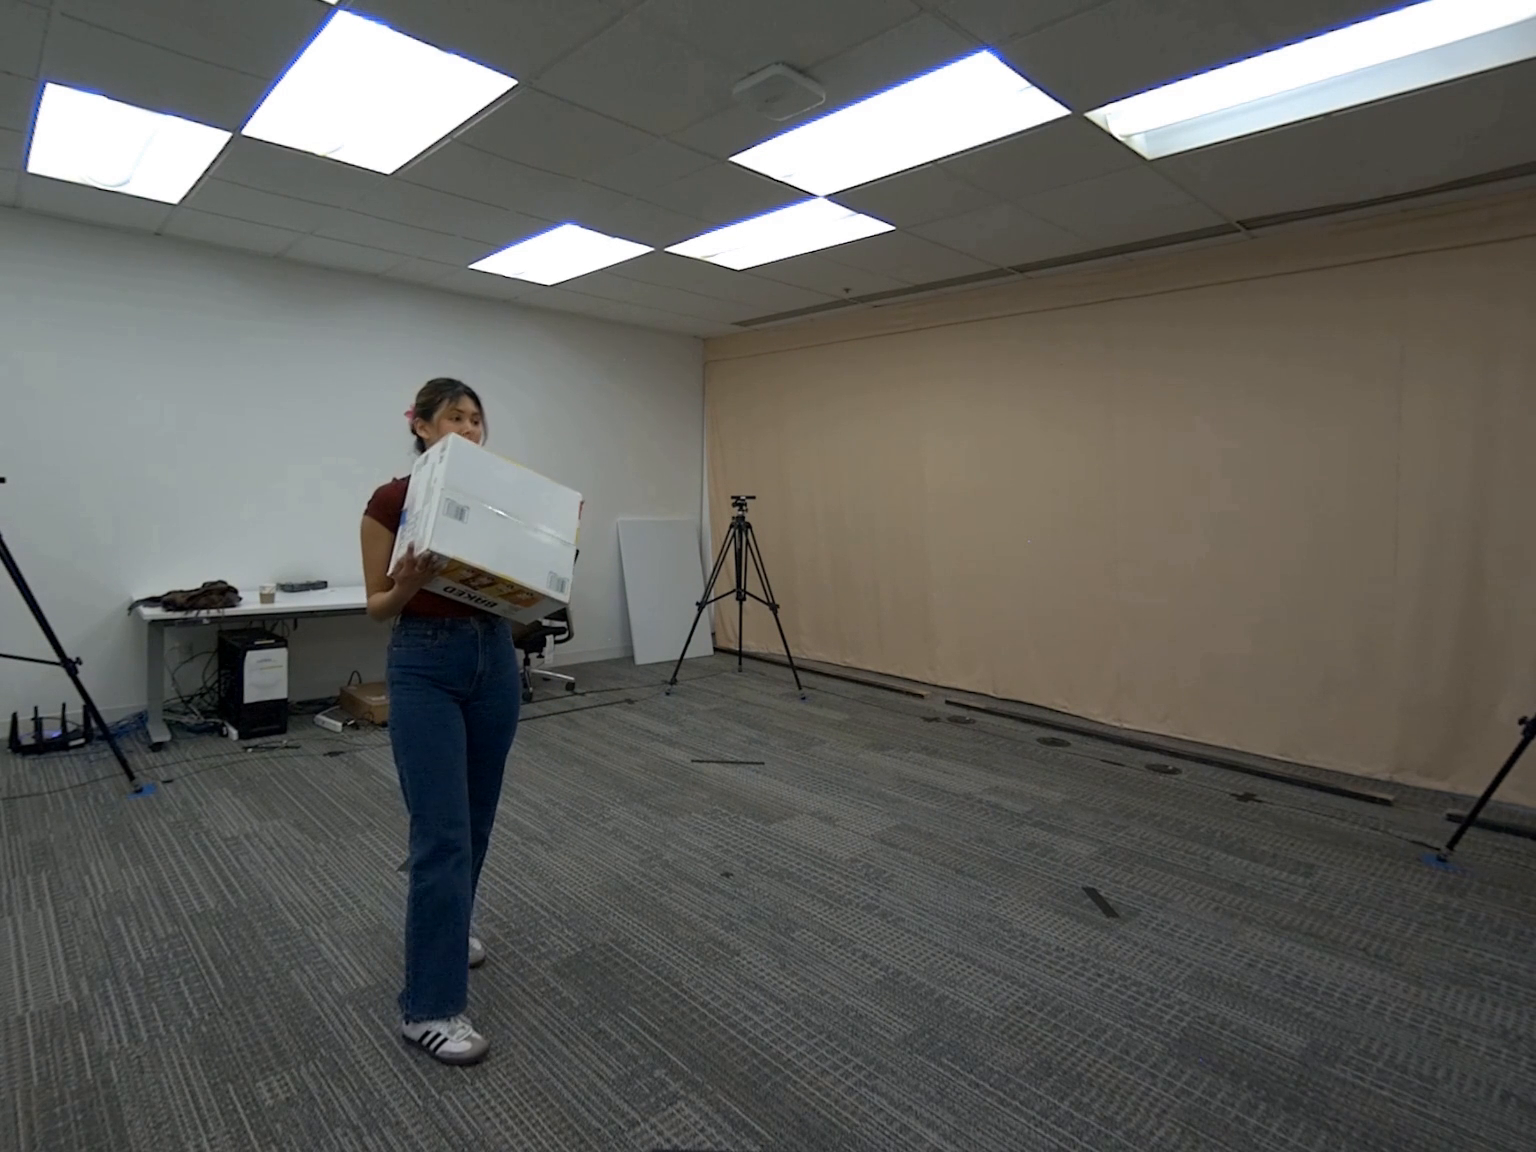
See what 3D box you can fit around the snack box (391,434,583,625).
[{"bbox_3d":[-0.732,-0.117,2.203,0.208,0.347,0.393,-24,-37,37],"label":"snack box"}]
